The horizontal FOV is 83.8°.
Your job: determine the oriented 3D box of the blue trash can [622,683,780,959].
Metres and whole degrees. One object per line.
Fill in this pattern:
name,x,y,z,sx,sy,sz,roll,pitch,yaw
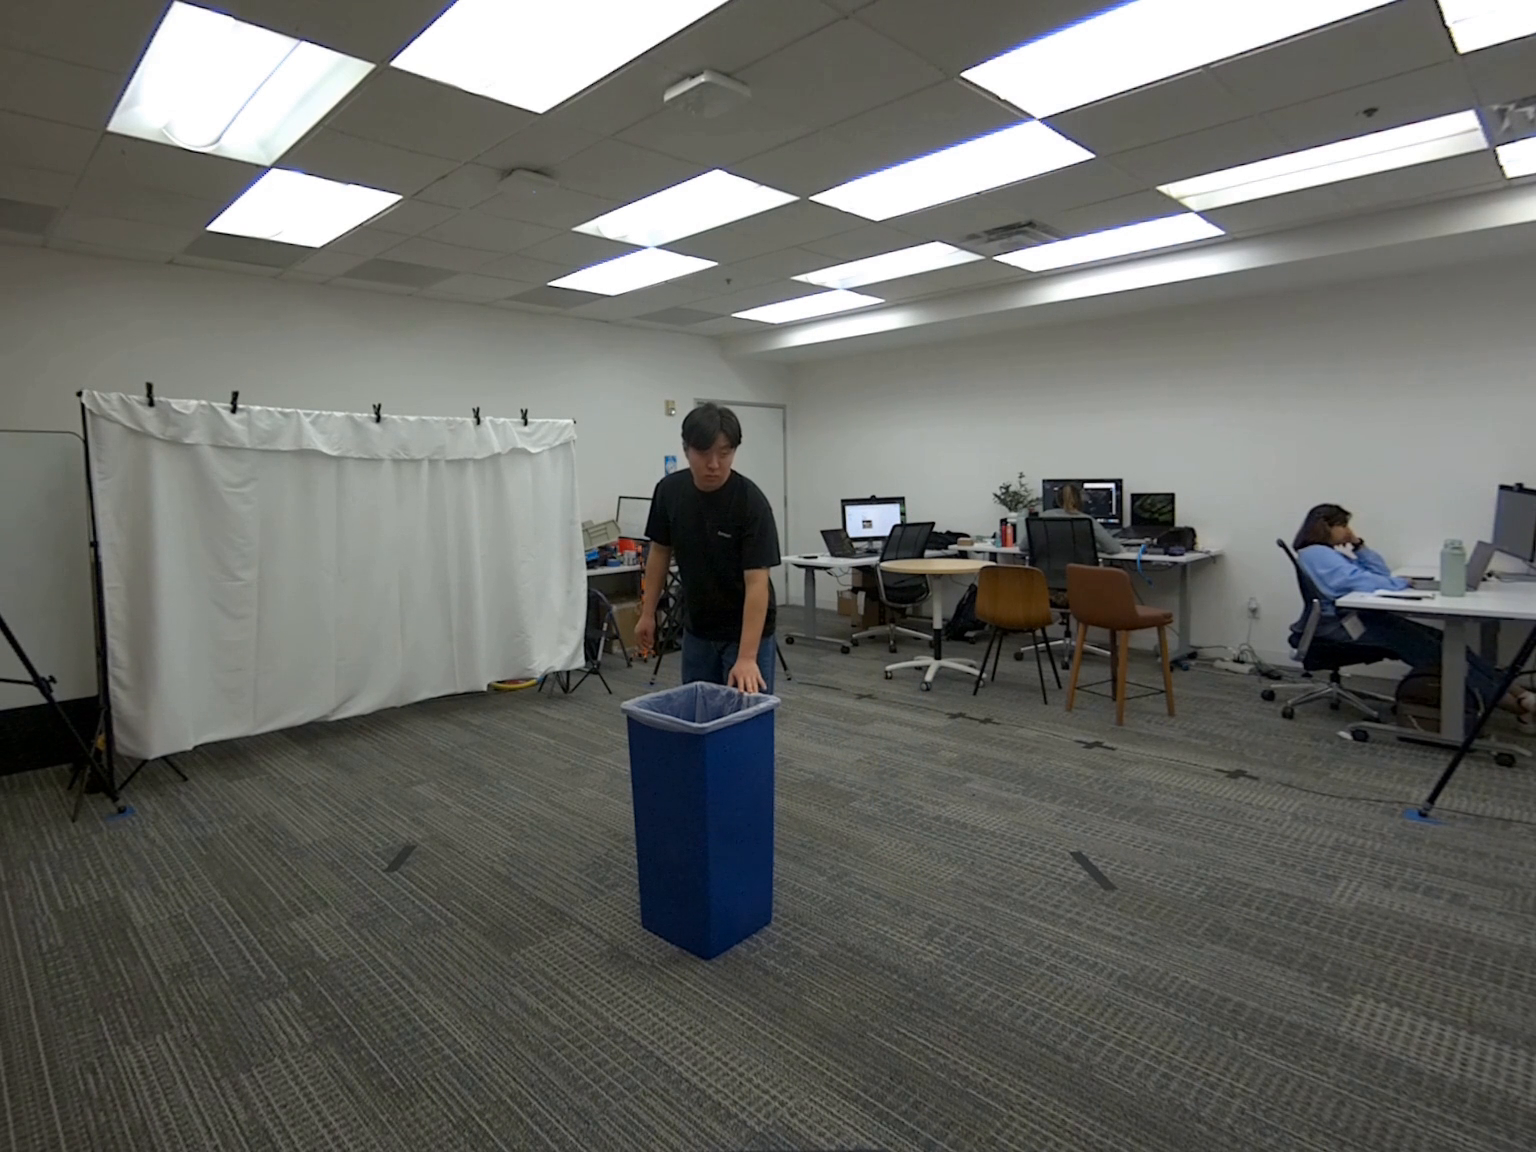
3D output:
blue trash can,-0.201,0.744,2.654,0.389,0.711,0.364,2,5,41
